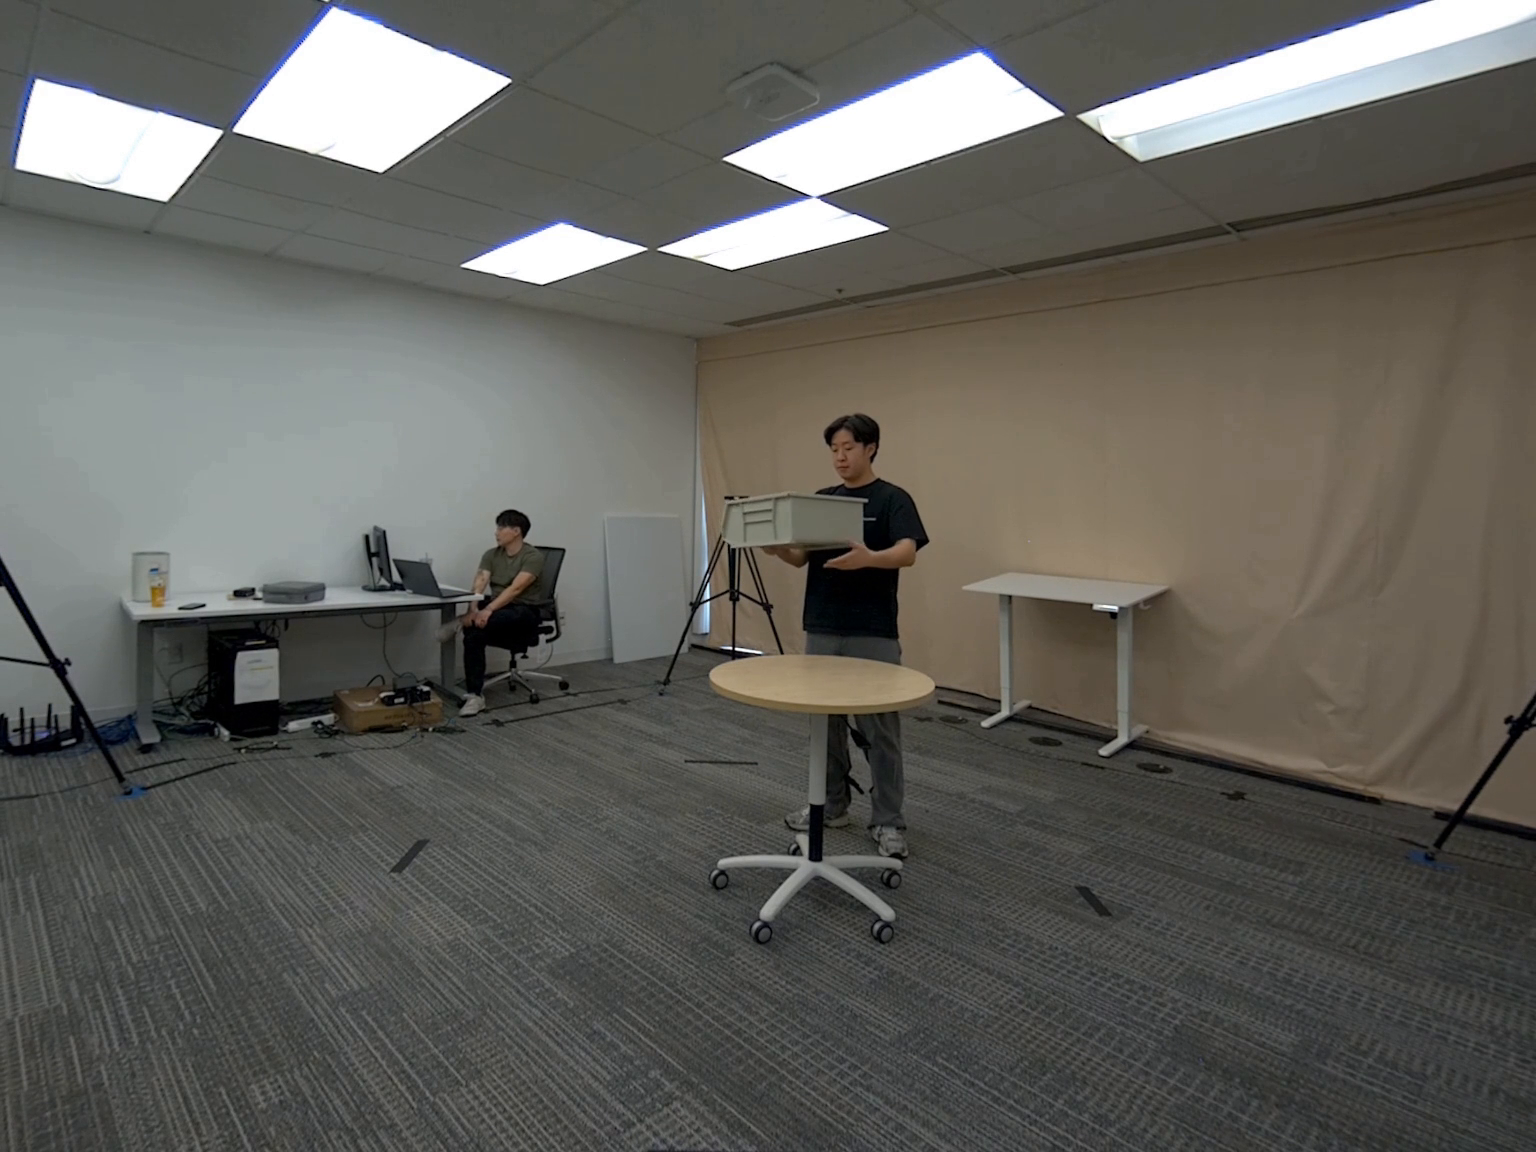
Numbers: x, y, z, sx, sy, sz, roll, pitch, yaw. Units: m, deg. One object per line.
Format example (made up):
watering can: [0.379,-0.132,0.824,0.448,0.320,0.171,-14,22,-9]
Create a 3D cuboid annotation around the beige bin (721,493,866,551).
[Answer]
beige bin: [0.093,-0.192,3.189,0.412,0.189,0.386,1,-2,-42]
